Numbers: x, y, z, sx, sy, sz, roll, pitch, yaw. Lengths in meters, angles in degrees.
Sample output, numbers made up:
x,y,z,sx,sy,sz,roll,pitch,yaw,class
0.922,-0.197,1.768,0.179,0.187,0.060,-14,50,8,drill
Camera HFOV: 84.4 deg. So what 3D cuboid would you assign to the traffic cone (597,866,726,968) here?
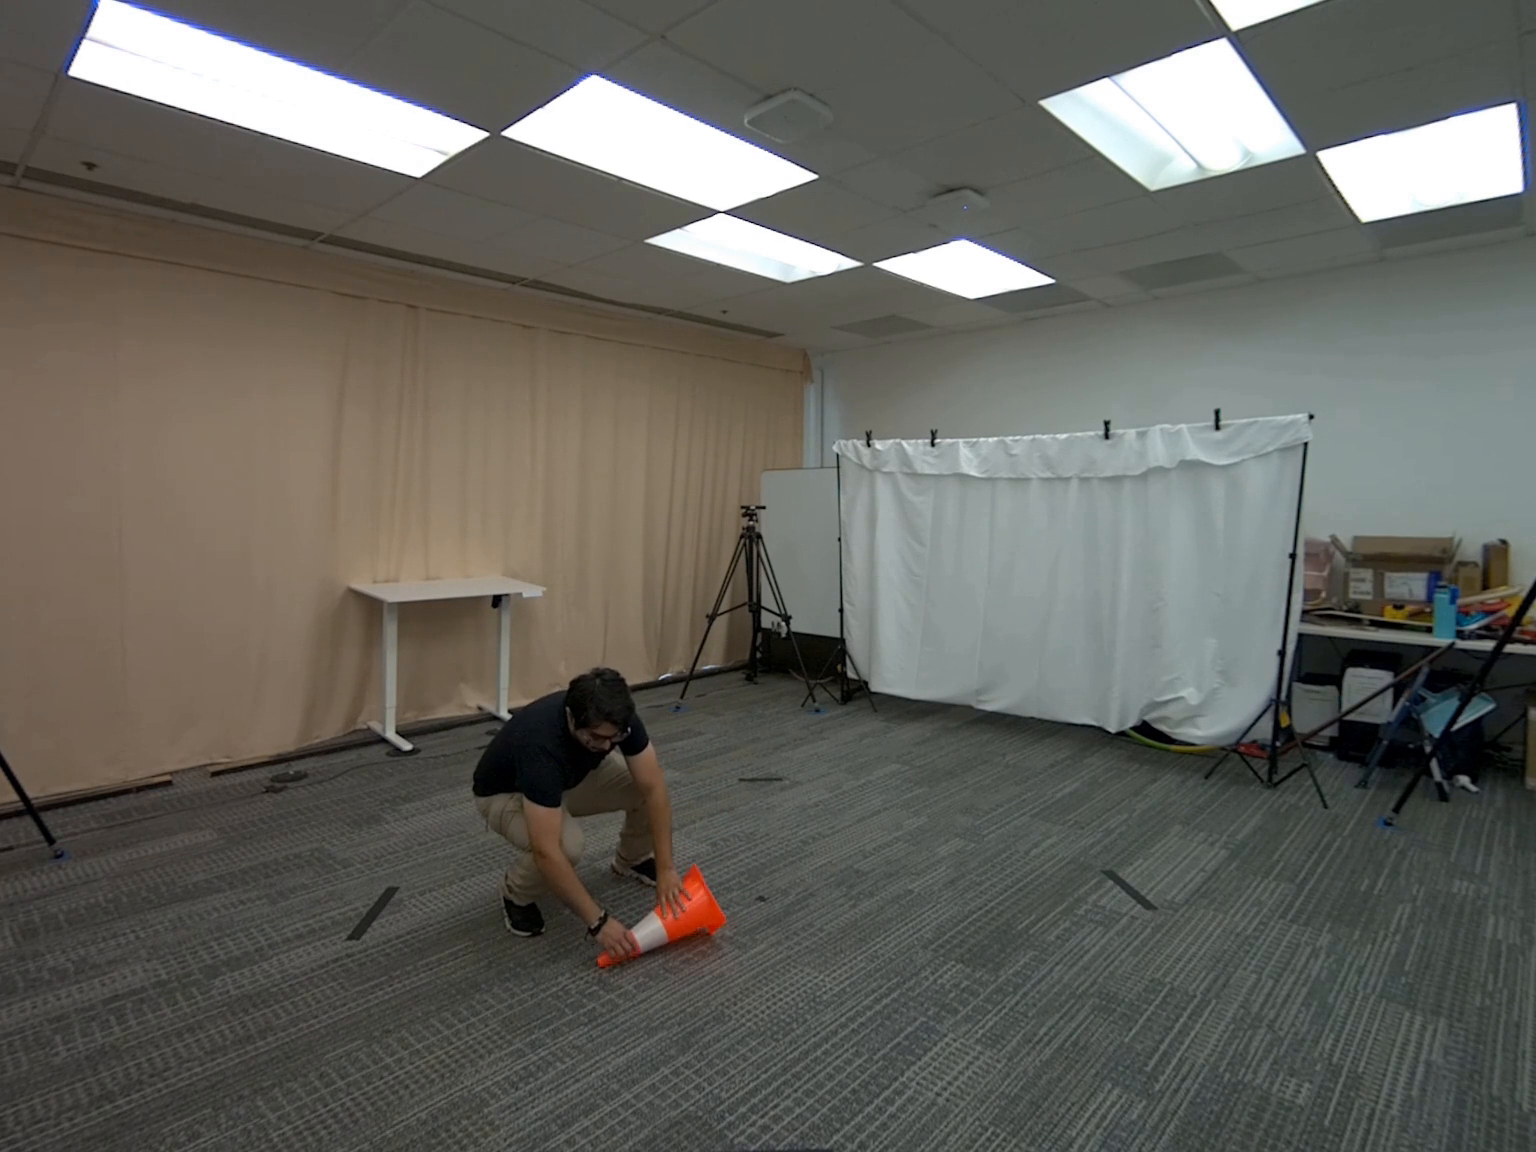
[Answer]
x,y,z,sx,sy,sz,roll,pitch,yaw,class
-0.360,1.104,2.621,0.376,0.210,0.202,-20,-27,-26,traffic cone
